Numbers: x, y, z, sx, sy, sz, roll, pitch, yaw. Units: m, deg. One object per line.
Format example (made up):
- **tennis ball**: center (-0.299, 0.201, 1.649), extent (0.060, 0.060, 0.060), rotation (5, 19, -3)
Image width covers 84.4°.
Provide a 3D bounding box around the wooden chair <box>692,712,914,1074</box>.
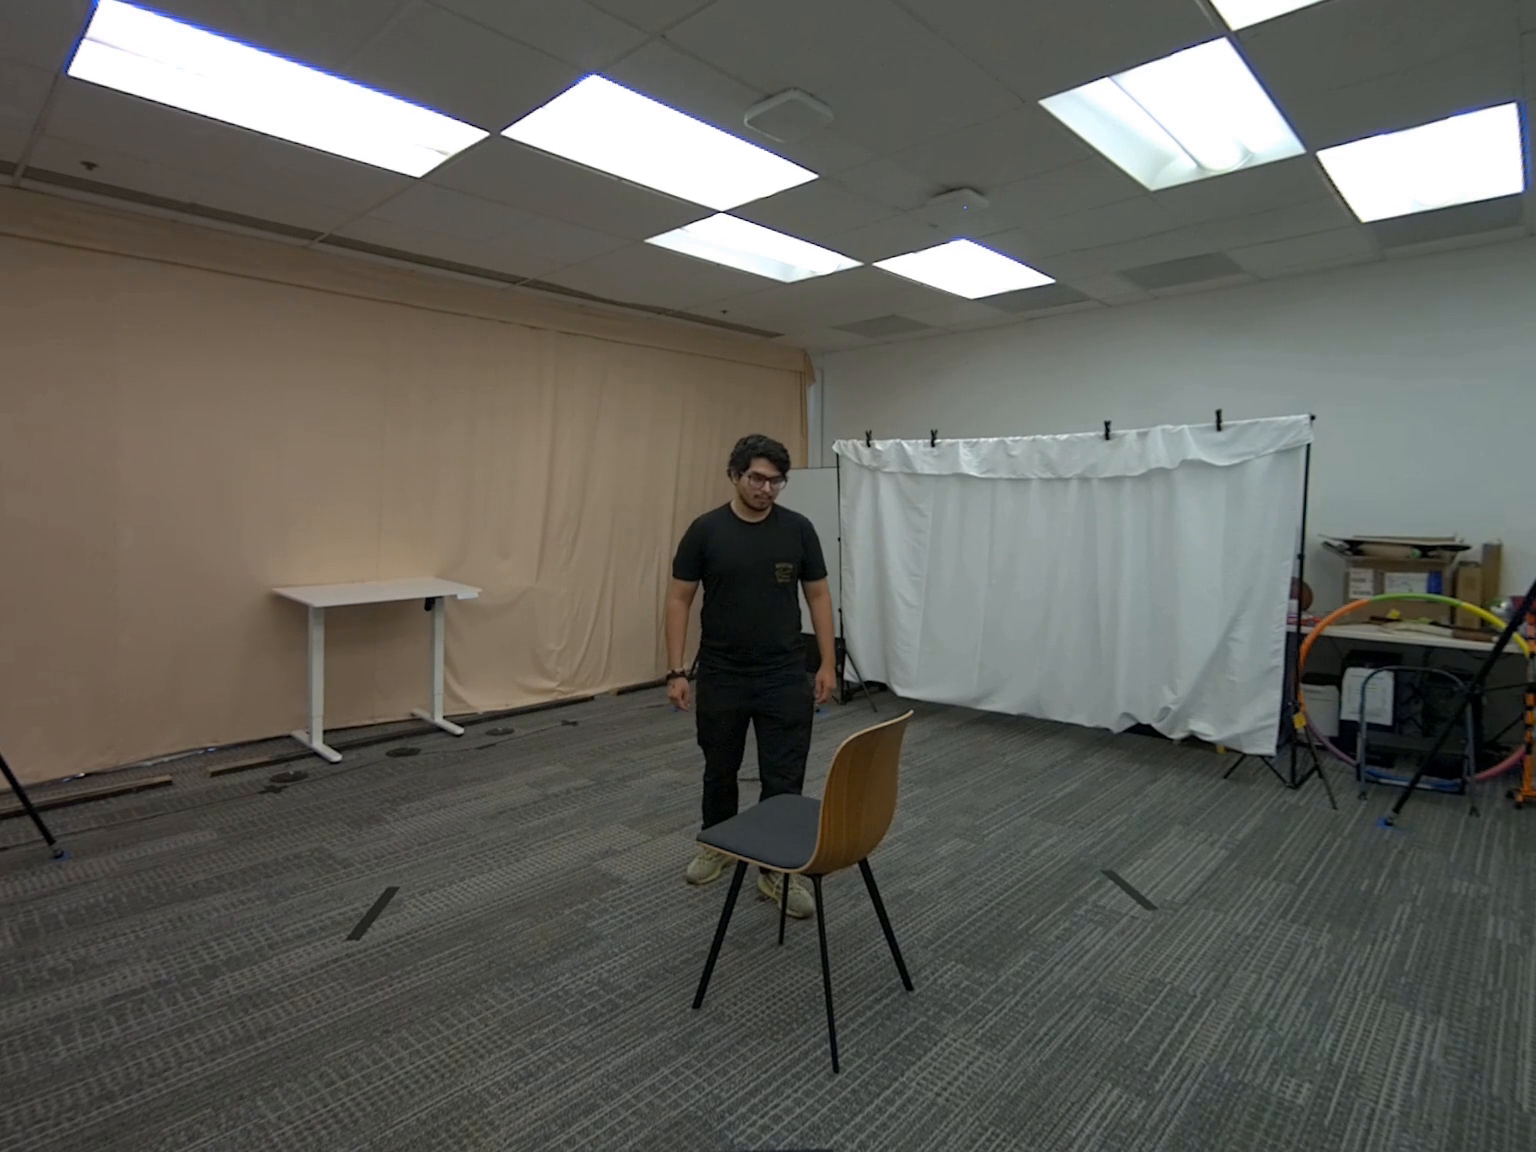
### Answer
- **wooden chair**: center (0.098, 0.763, 2.357), extent (0.540, 0.874, 0.464), rotation (8, 8, 35)
